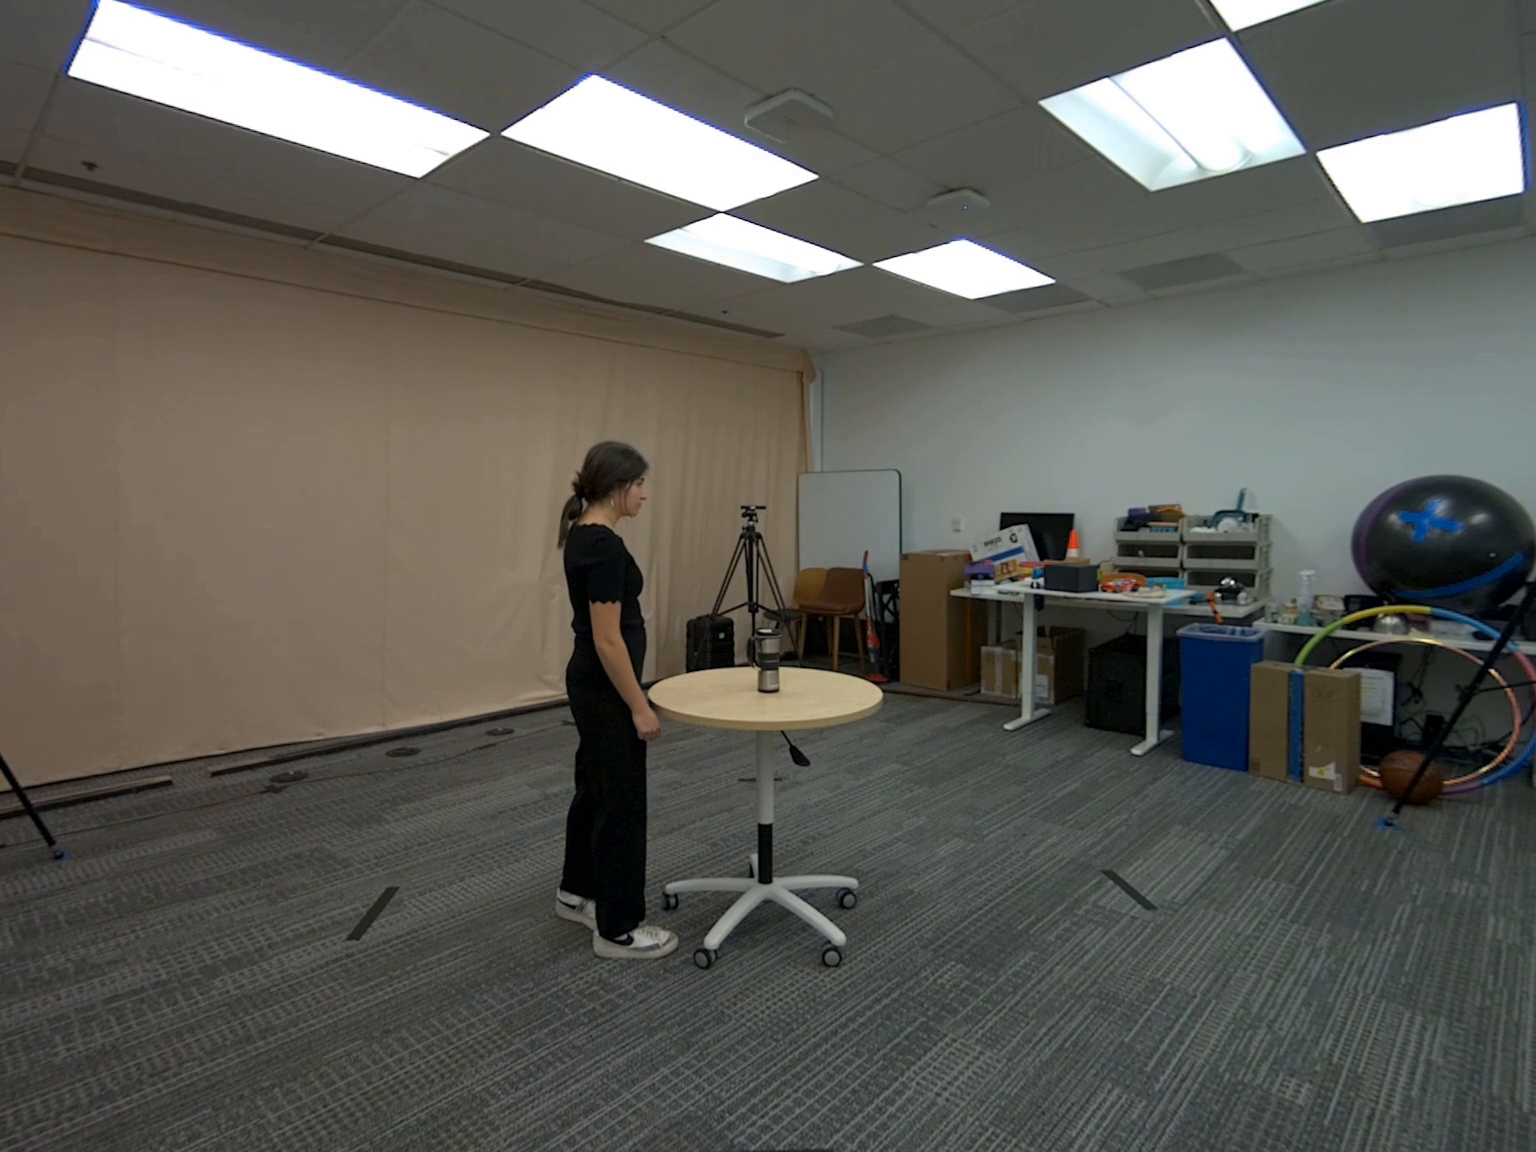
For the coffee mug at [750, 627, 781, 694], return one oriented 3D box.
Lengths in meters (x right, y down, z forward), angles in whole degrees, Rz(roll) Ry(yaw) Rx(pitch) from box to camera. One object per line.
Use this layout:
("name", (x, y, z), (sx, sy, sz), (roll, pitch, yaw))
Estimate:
("coffee mug", (-0.010, 0.280, 2.762), (0.126, 0.202, 0.085), (6, 11, 36))
